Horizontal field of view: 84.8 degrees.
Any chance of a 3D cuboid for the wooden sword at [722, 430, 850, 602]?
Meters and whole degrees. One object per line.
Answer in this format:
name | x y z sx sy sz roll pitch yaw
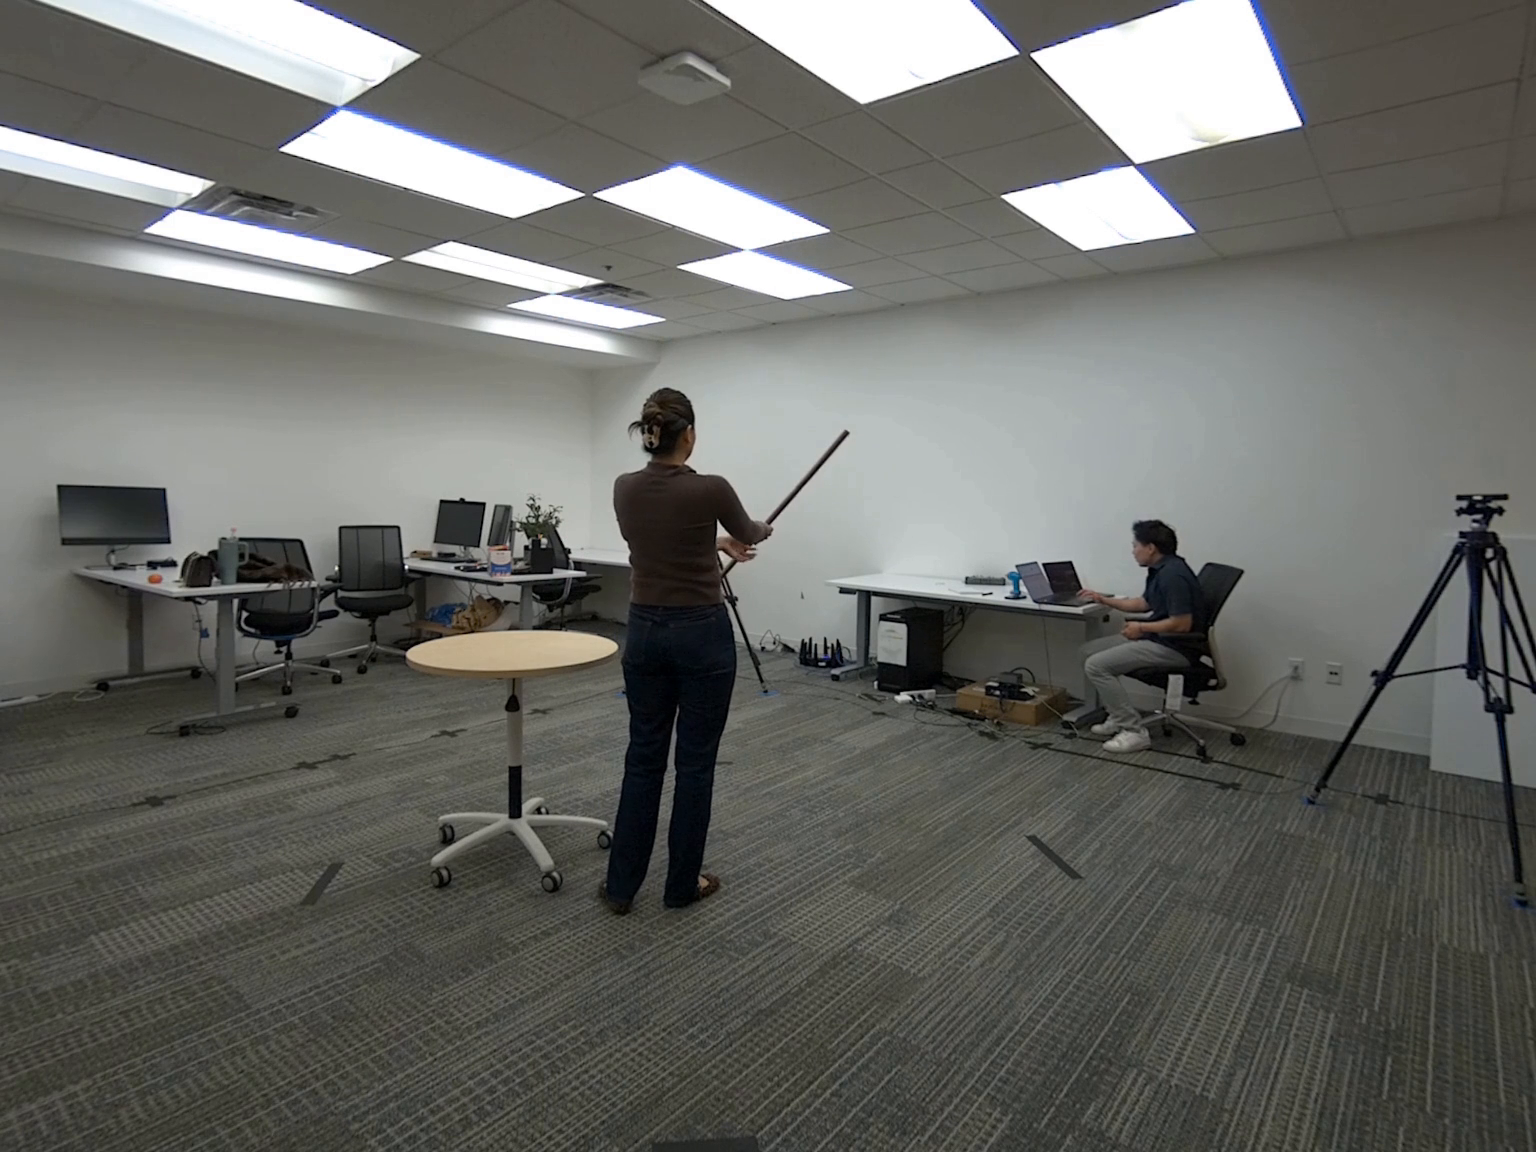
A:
wooden sword | -0.062 -0.162 3.284 0.051 1.024 0.024 41 6 3
